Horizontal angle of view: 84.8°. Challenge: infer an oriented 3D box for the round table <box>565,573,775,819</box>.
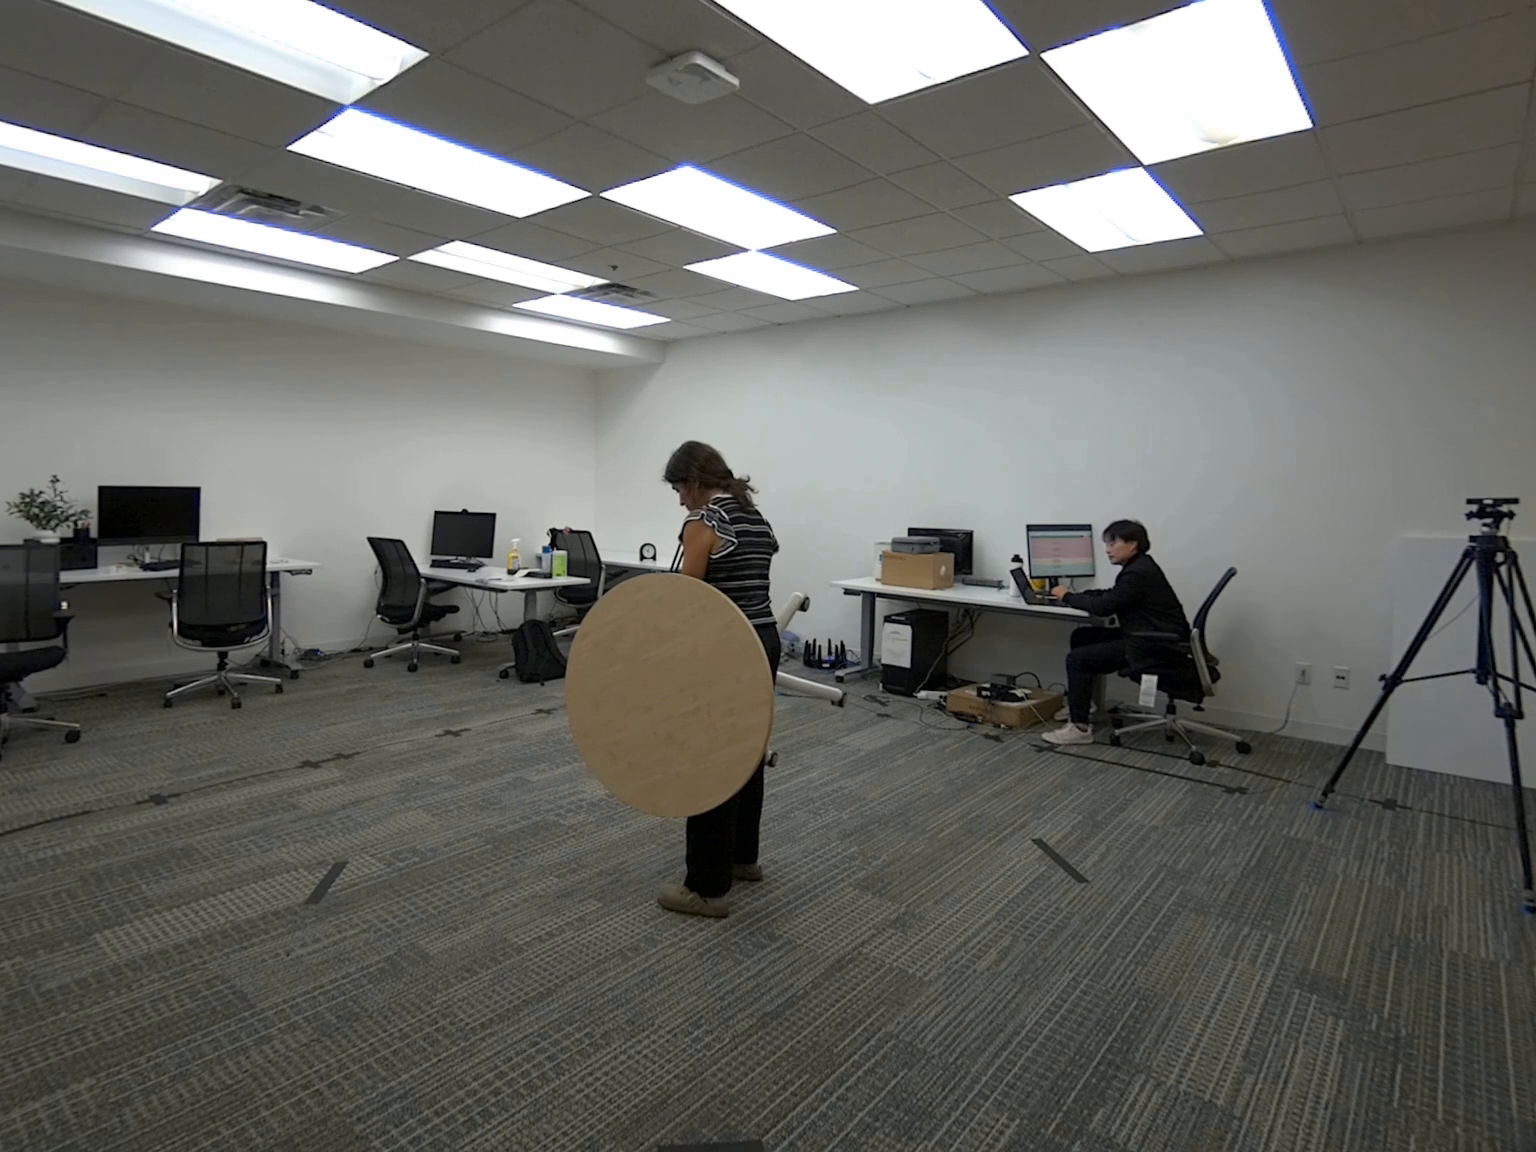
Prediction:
[{"bbox_3d":[-0.184,0.376,3.049,0.785,0.764,0.772,3,0,27],"label":"round table"}]
